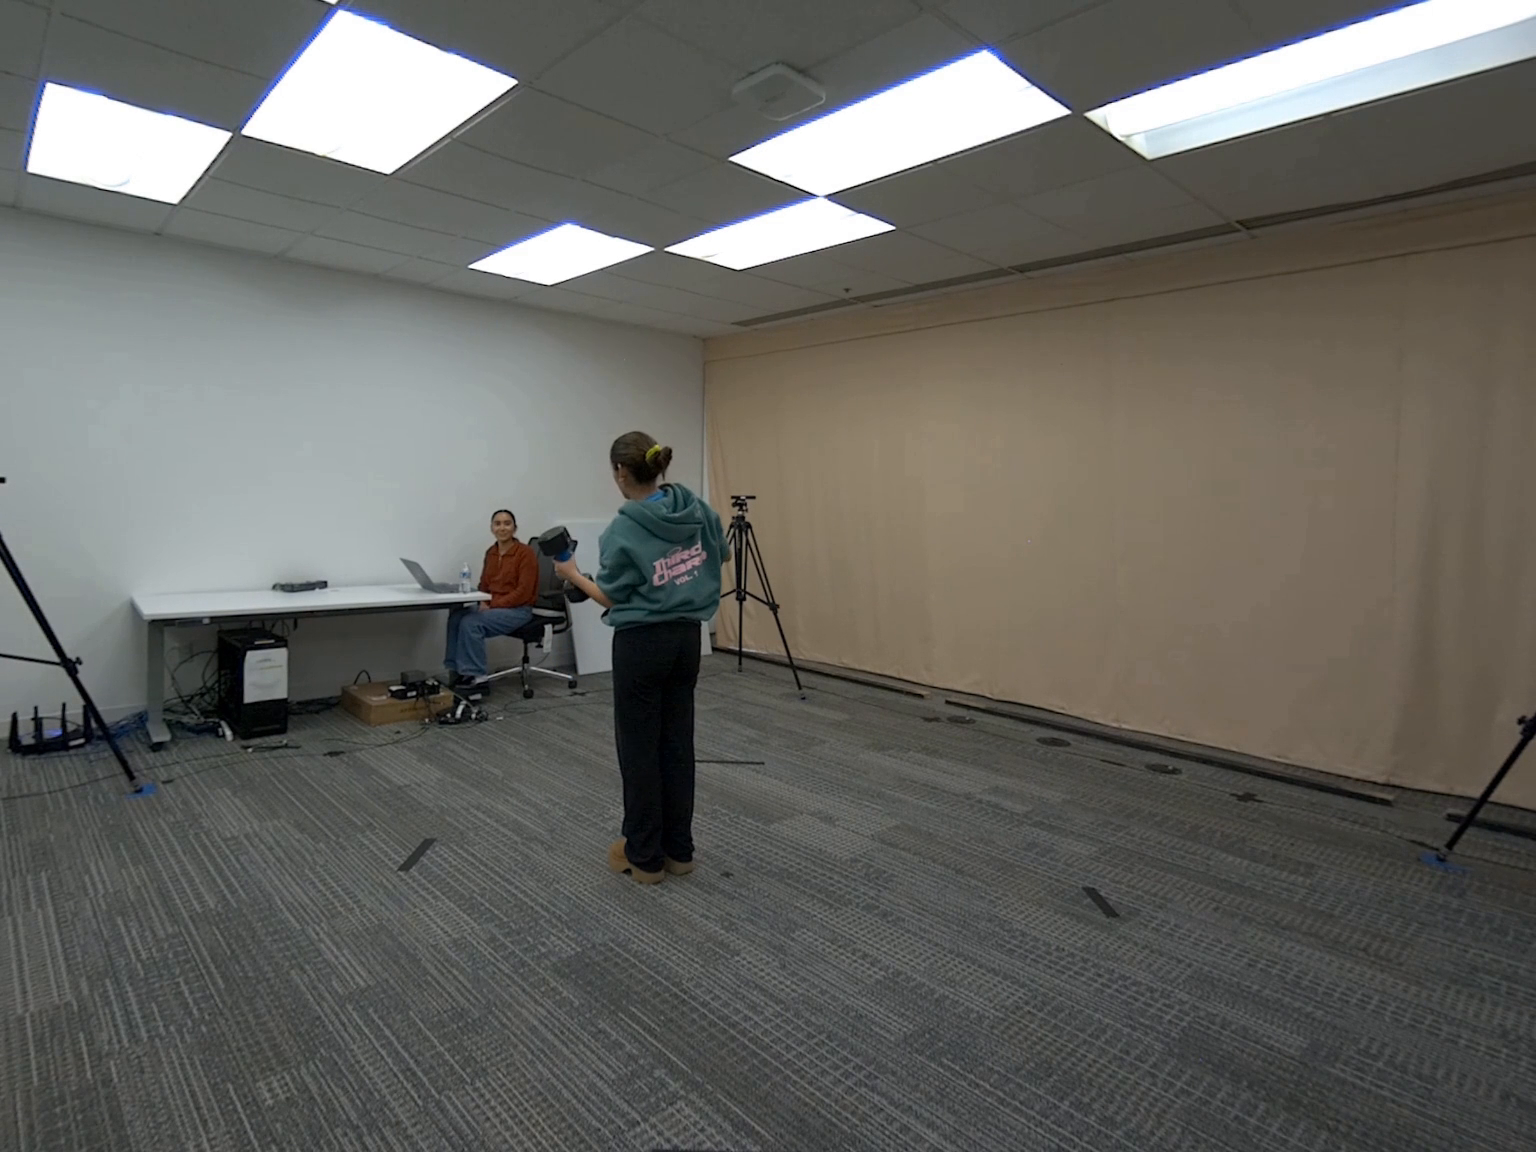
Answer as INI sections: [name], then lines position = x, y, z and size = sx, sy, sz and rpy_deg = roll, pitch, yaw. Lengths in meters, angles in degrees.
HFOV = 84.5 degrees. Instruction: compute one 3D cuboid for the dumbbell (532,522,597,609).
[dumbbell]
position = -0.757, -0.043, 3.207
size = 0.122, 0.288, 0.111
rpy_deg = -33, 22, -21
